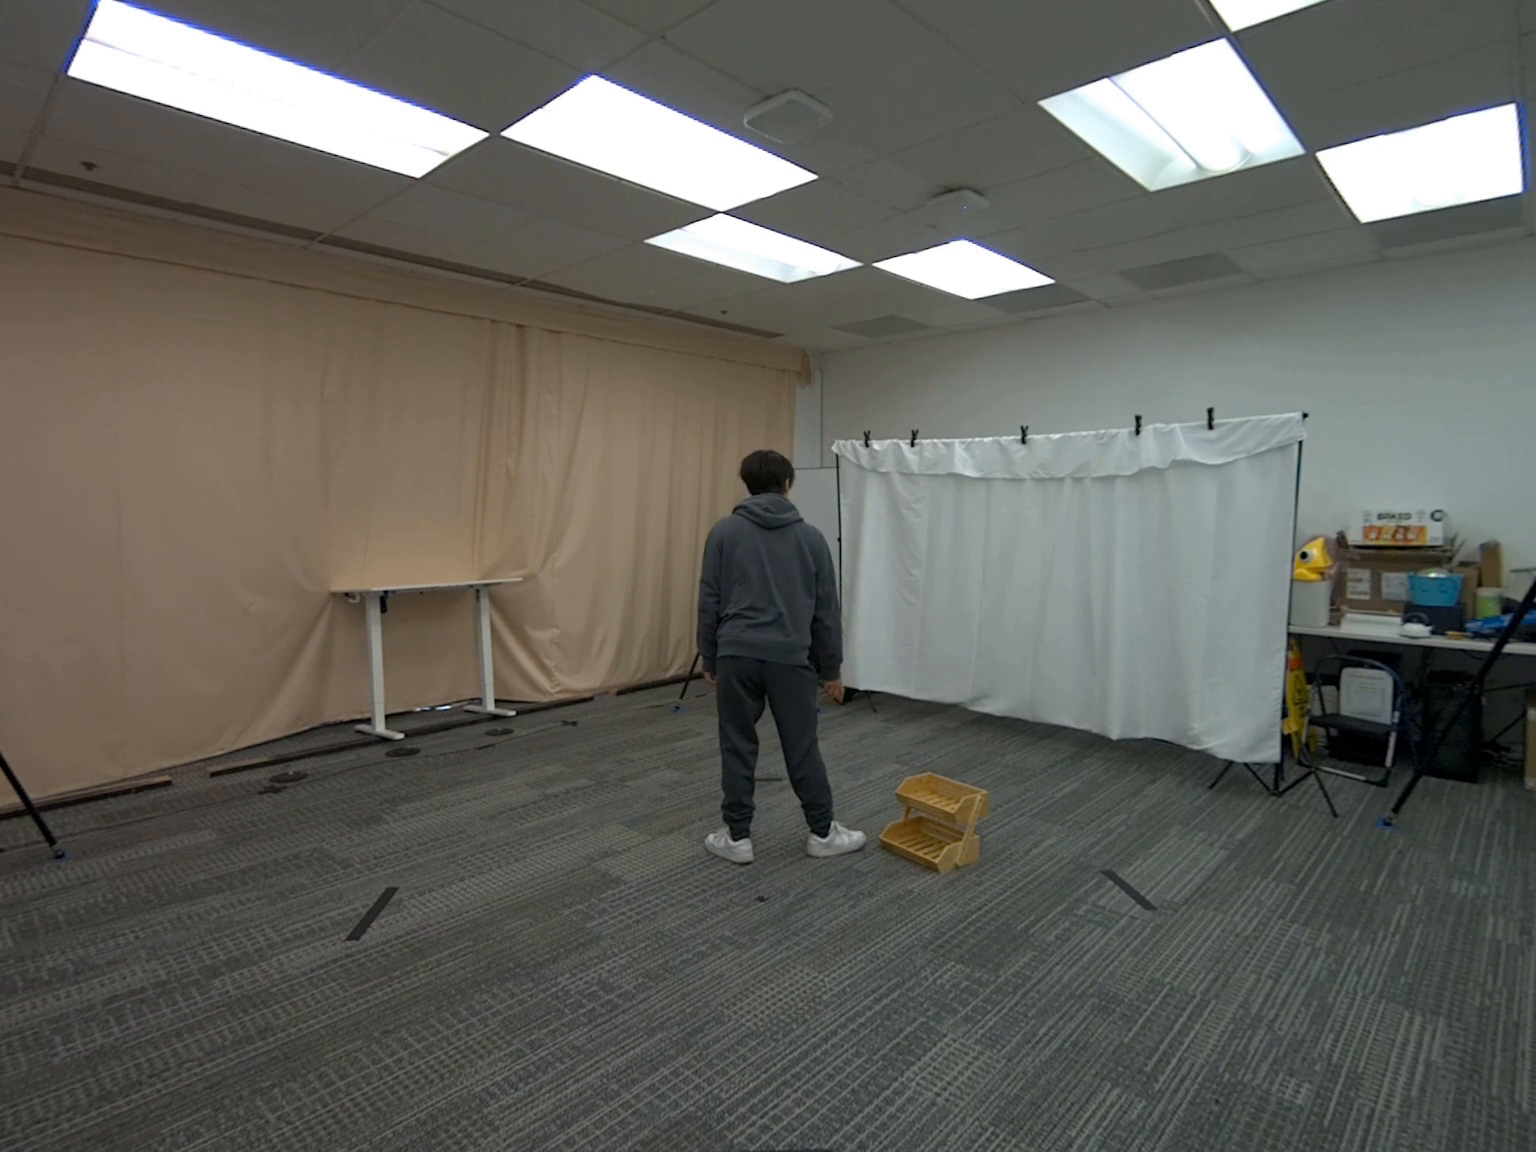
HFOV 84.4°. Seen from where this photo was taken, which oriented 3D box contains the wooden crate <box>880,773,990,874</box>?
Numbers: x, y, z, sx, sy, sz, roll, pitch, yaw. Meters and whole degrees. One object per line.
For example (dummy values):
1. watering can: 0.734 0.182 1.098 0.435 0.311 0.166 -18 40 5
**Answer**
1. wooden crate: 0.663 0.973 3.374 0.293 0.273 0.335 -3 5 -38
